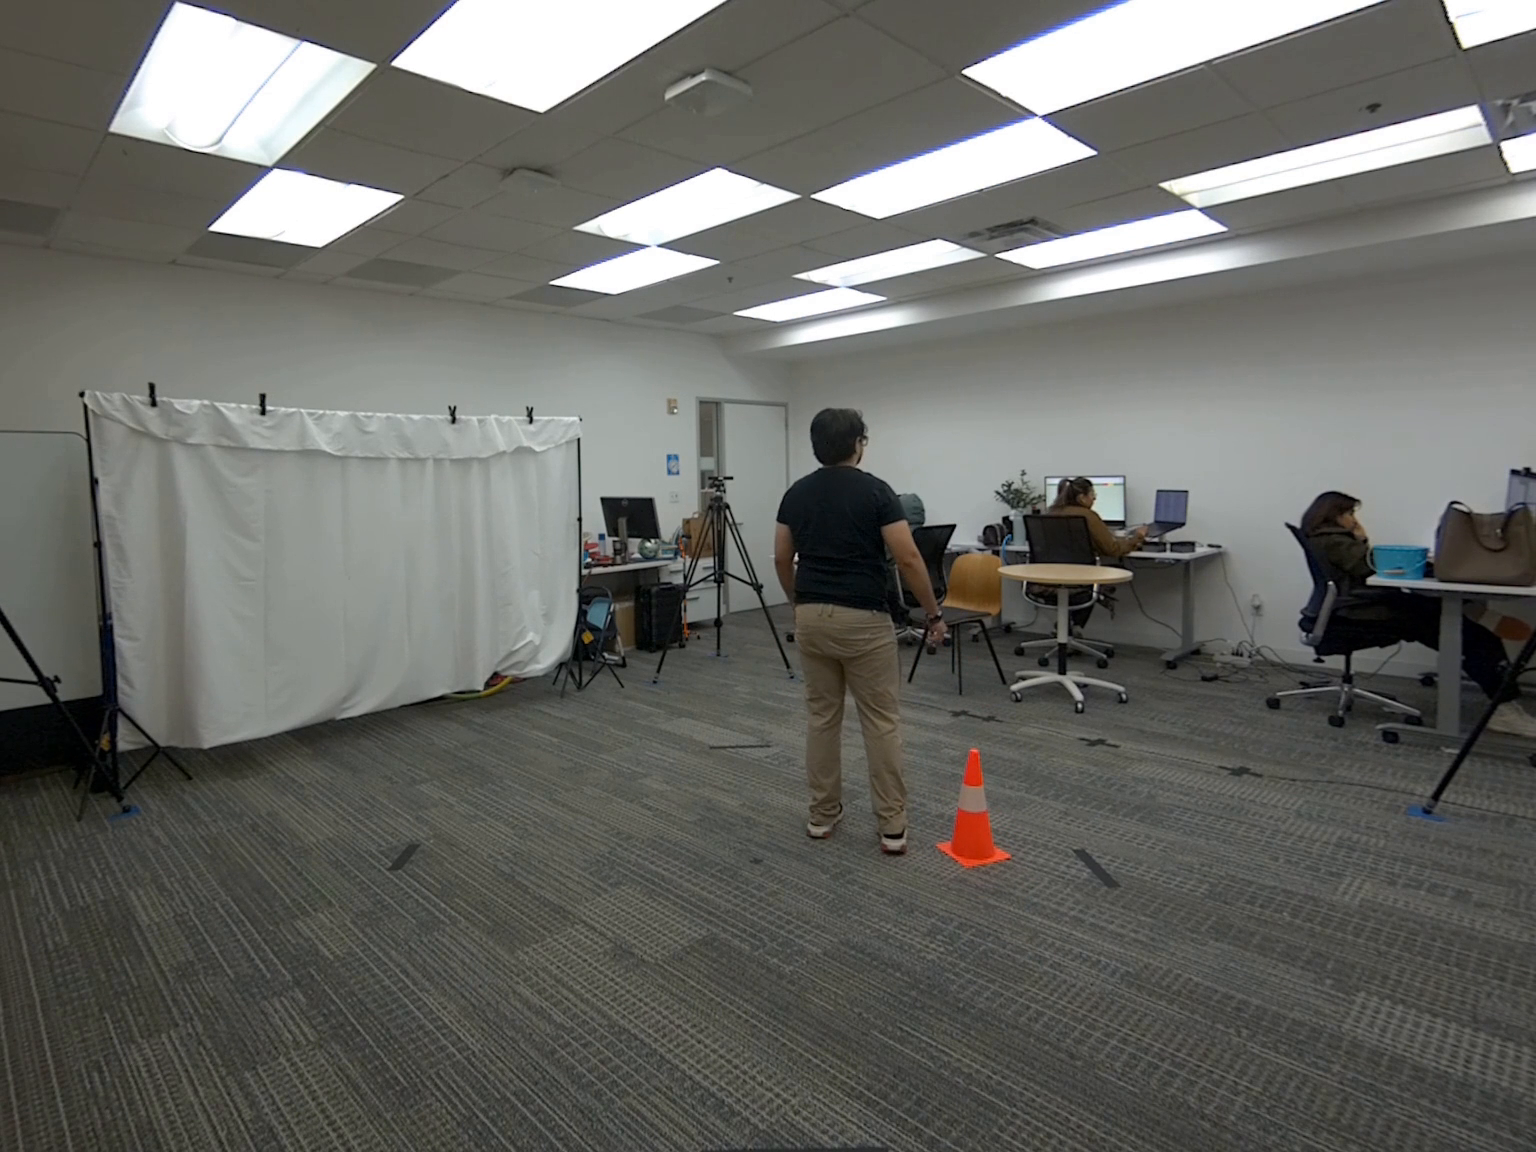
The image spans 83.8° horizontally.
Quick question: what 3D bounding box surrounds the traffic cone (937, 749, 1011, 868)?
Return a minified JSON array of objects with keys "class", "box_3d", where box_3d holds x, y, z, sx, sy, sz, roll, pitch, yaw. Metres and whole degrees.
[{"class":"traffic cone","box_3d":[0.762,0.834,3.136,0.199,0.382,0.210,-4,5,-26]}]
